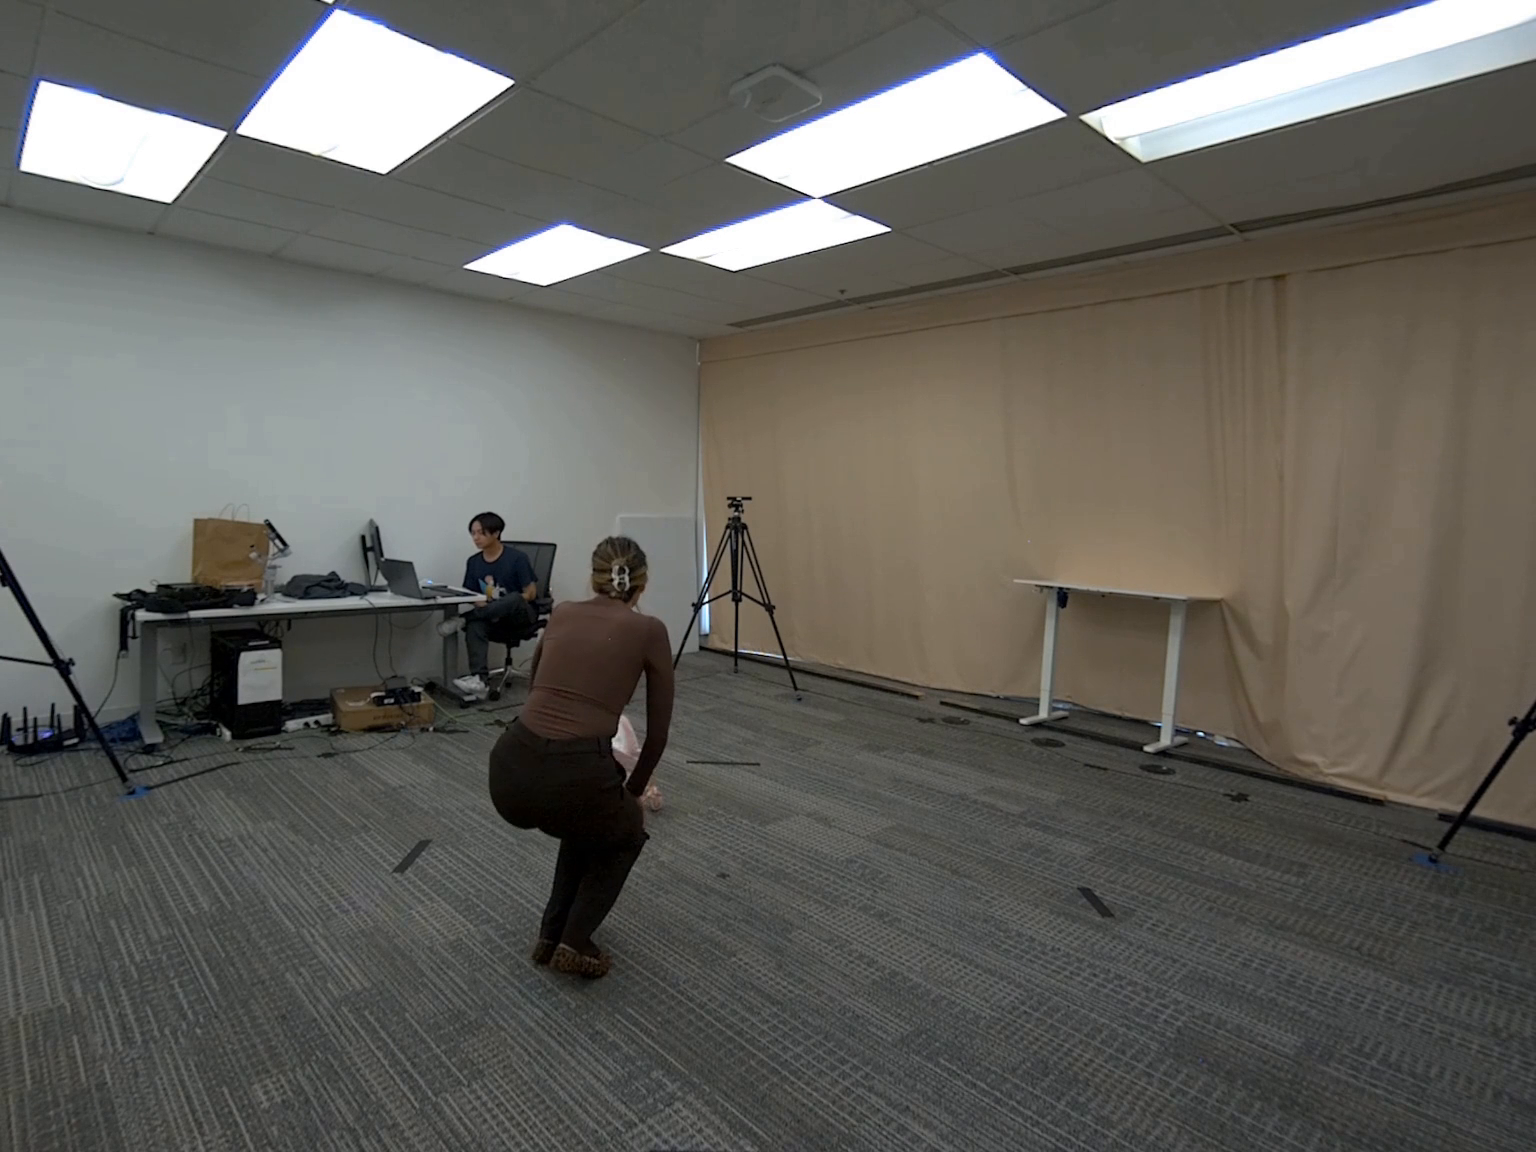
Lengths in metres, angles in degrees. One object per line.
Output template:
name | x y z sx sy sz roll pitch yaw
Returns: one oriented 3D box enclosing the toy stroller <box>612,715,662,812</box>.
toy stroller | -0.627 0.830 3.609 0.337 0.528 0.289 -22 19 -38
